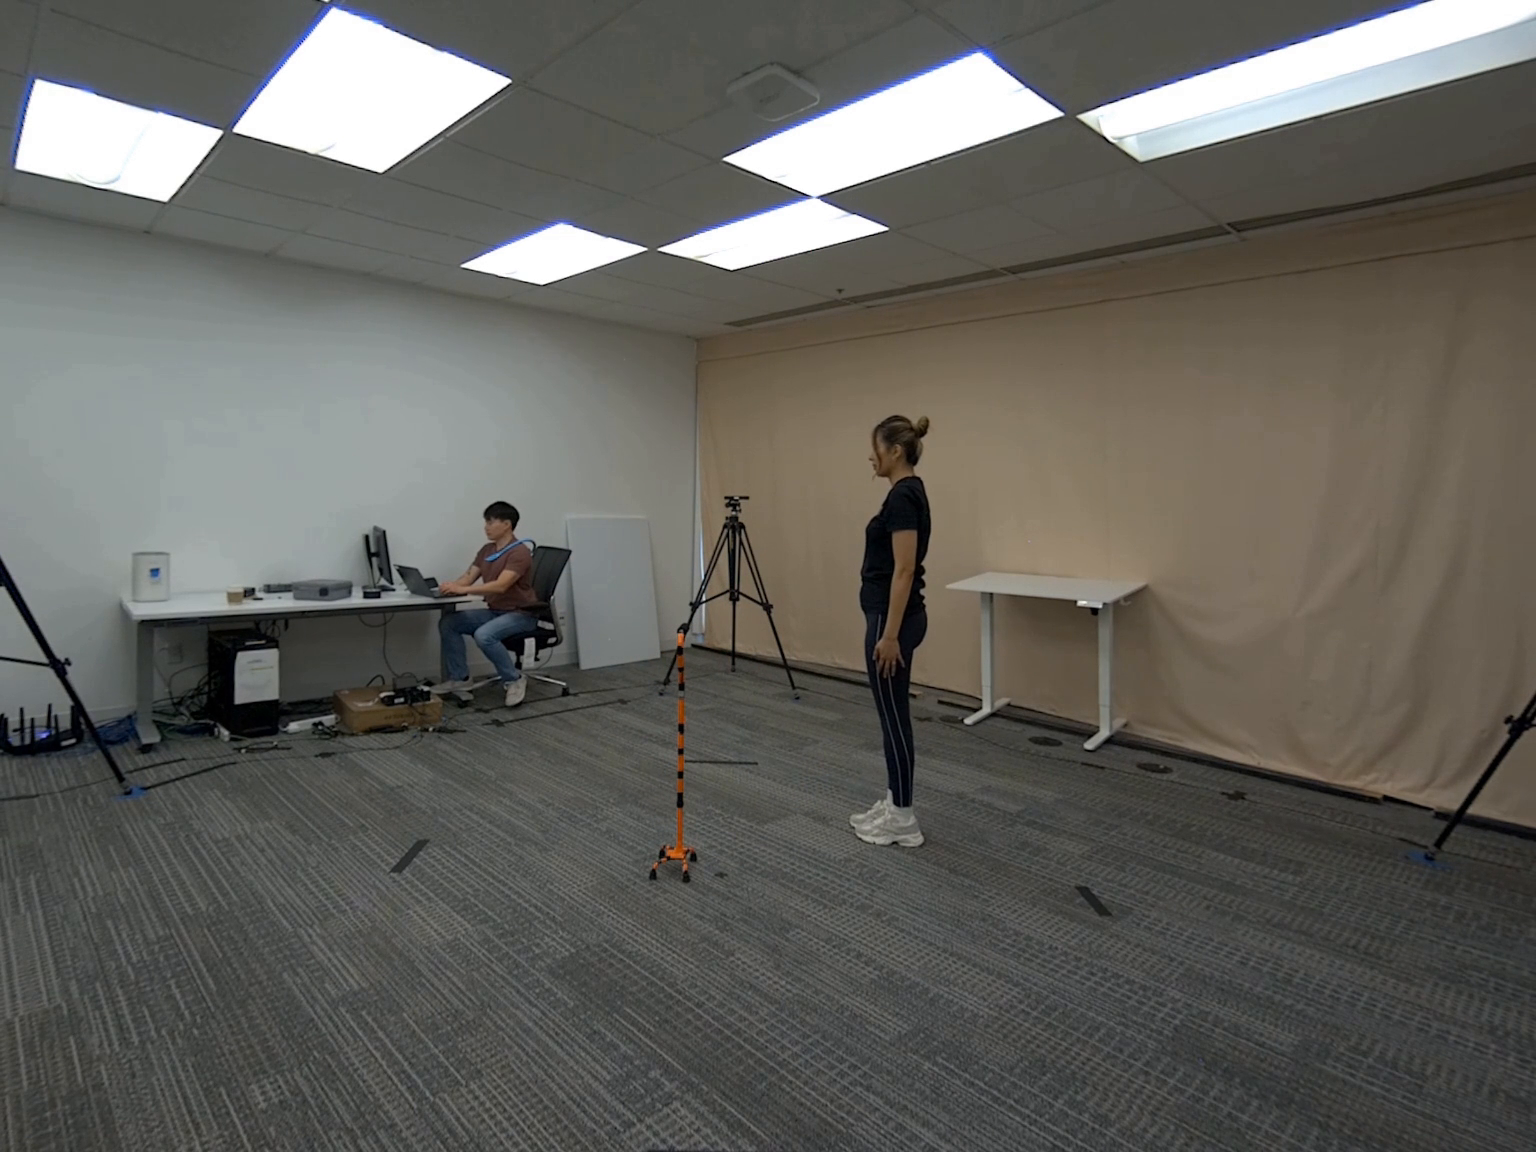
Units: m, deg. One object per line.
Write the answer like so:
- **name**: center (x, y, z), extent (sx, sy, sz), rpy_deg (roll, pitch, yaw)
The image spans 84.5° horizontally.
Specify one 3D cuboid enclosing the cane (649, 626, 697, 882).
- **cane**: center (-0.345, 0.647, 3.117), extent (0.152, 0.905, 0.206), rpy_deg (2, 3, 4)
